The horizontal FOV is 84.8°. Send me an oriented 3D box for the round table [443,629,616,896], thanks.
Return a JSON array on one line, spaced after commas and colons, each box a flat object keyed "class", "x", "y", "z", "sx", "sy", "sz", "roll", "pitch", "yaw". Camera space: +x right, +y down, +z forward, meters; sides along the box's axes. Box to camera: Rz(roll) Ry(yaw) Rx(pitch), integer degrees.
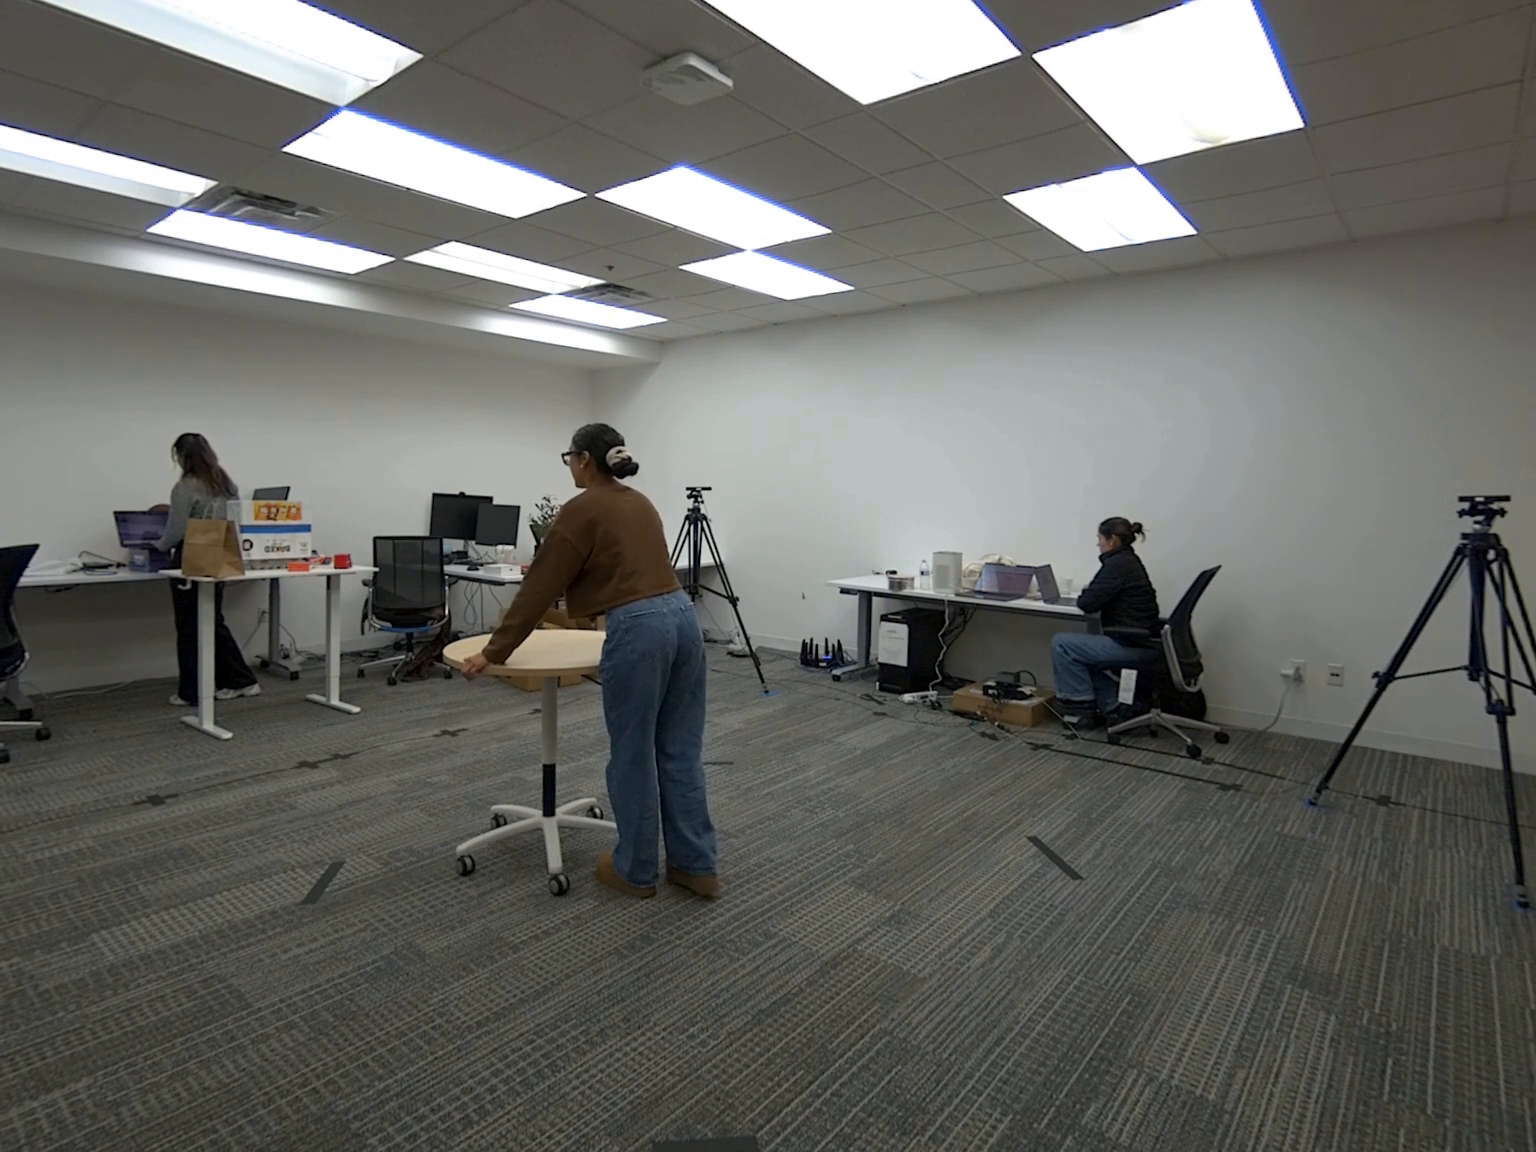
[{"class": "round table", "x": -0.851, "y": 0.656, "z": 3.210, "sx": 0.784, "sy": 0.784, "sz": 0.789, "roll": 1, "pitch": 4, "yaw": -2}]
